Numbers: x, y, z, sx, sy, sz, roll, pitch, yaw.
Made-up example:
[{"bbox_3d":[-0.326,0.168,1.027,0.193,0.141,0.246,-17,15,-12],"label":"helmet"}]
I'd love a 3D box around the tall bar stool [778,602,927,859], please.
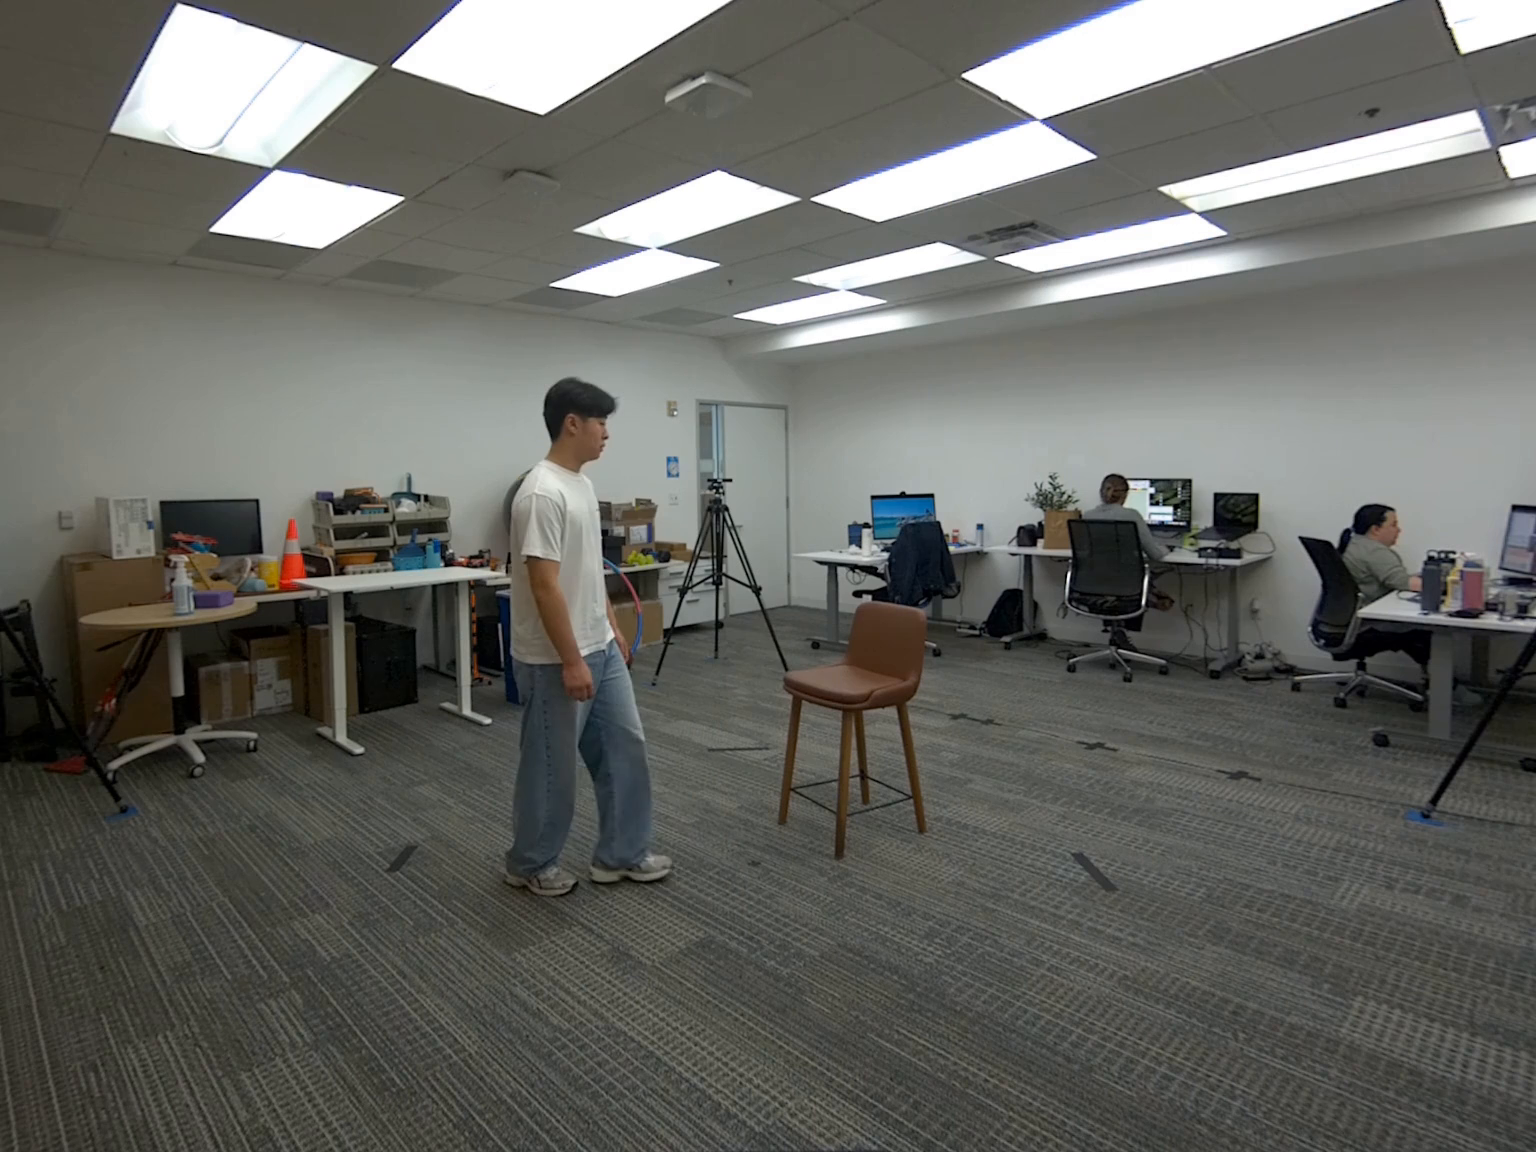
[{"bbox_3d":[0.338,0.570,3.389,0.456,0.887,0.469,-1,4,-32],"label":"tall bar stool"}]
